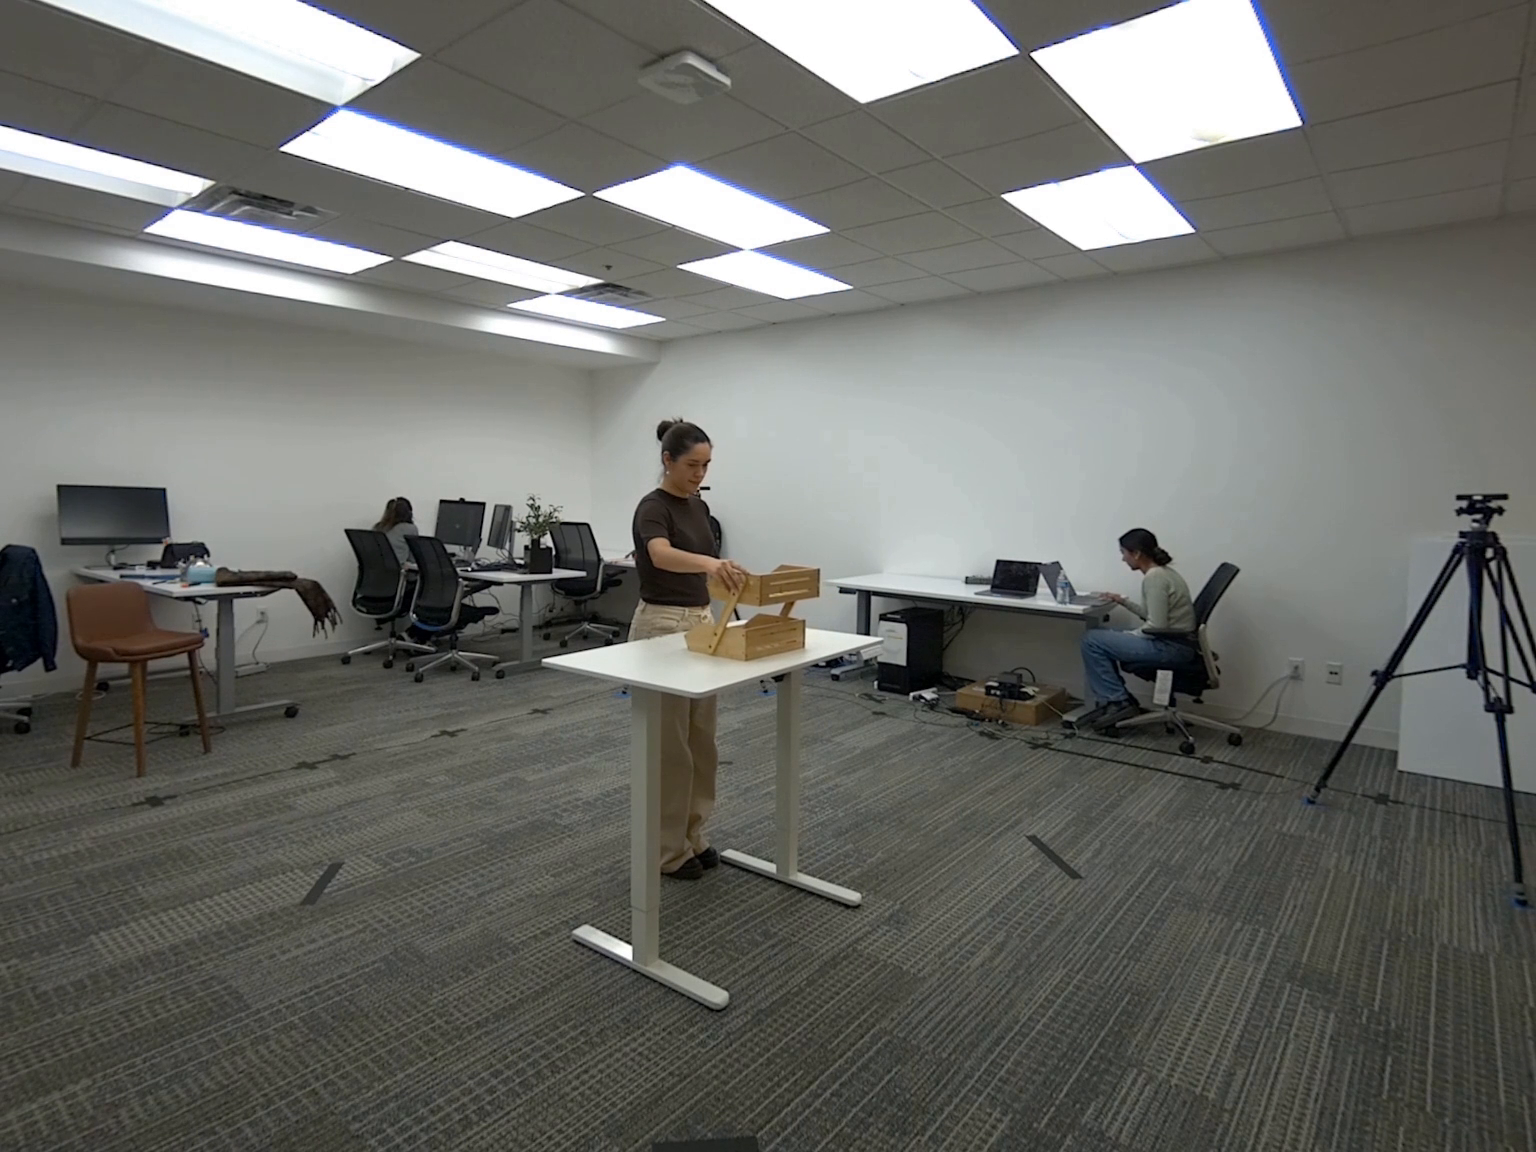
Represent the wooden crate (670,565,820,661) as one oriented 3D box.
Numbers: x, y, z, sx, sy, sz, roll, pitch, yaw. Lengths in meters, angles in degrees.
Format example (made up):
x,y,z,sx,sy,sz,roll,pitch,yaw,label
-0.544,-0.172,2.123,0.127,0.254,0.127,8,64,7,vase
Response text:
x,y,z,sx,sy,sz,roll,pitch,yaw,label
-0.058,0.098,2.662,0.312,0.272,0.315,6,7,40,wooden crate
